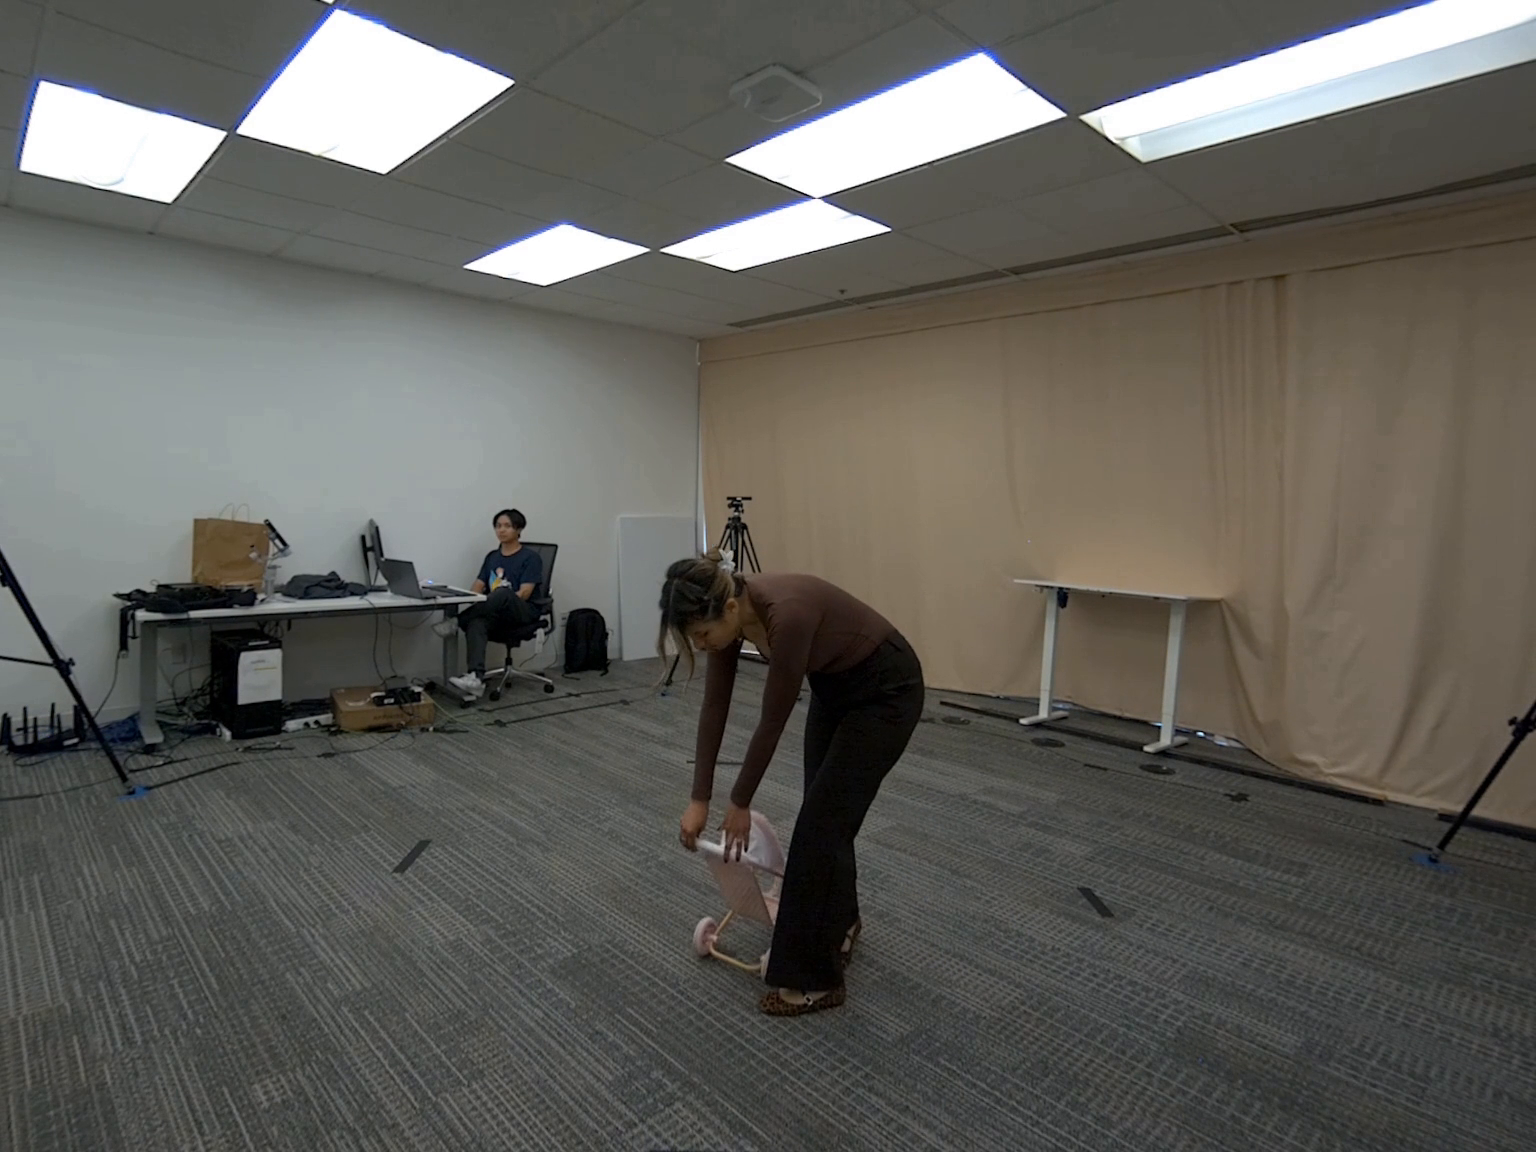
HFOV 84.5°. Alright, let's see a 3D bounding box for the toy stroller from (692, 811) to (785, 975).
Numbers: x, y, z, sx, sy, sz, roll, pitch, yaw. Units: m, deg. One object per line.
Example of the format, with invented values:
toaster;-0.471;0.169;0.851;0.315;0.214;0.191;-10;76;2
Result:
toy stroller;-0.045;0.938;2.536;0.288;0.527;0.337;6;22;37
